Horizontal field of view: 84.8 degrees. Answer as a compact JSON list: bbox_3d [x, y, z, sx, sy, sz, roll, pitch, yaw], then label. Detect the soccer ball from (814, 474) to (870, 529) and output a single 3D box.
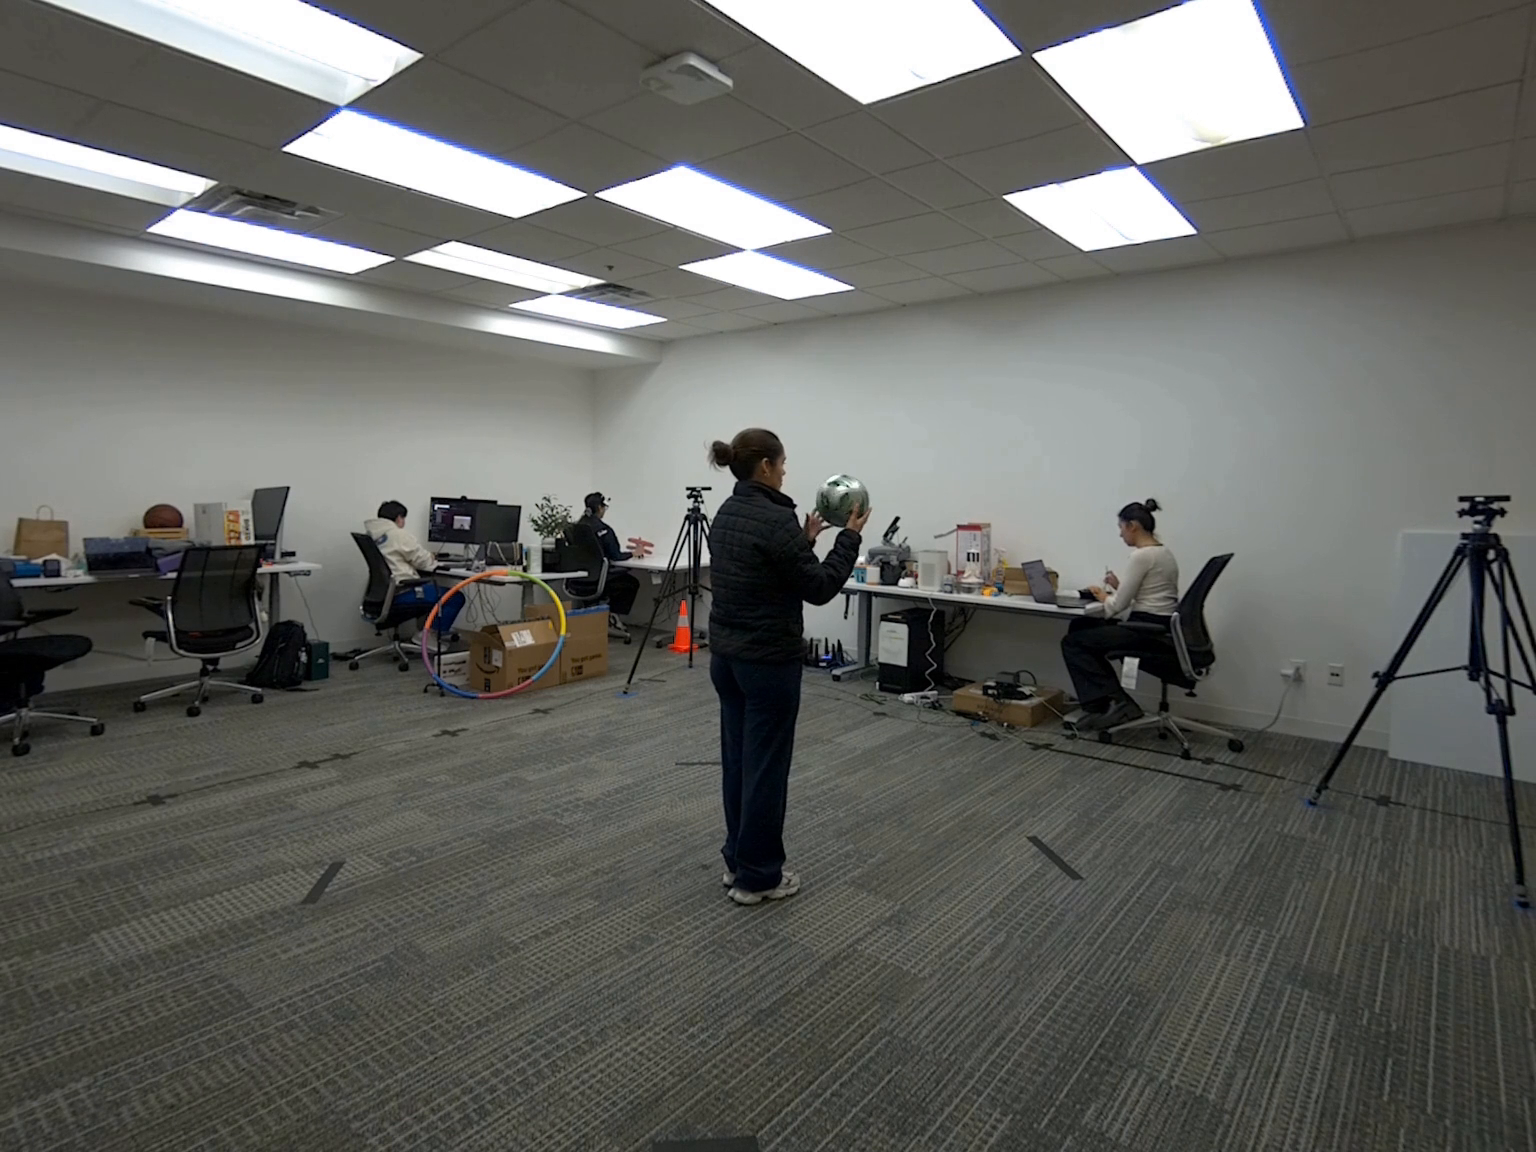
[{"bbox_3d":[0.247,-0.254,3.000,0.187,0.187,0.188,1,4,-2],"label":"soccer ball"}]
